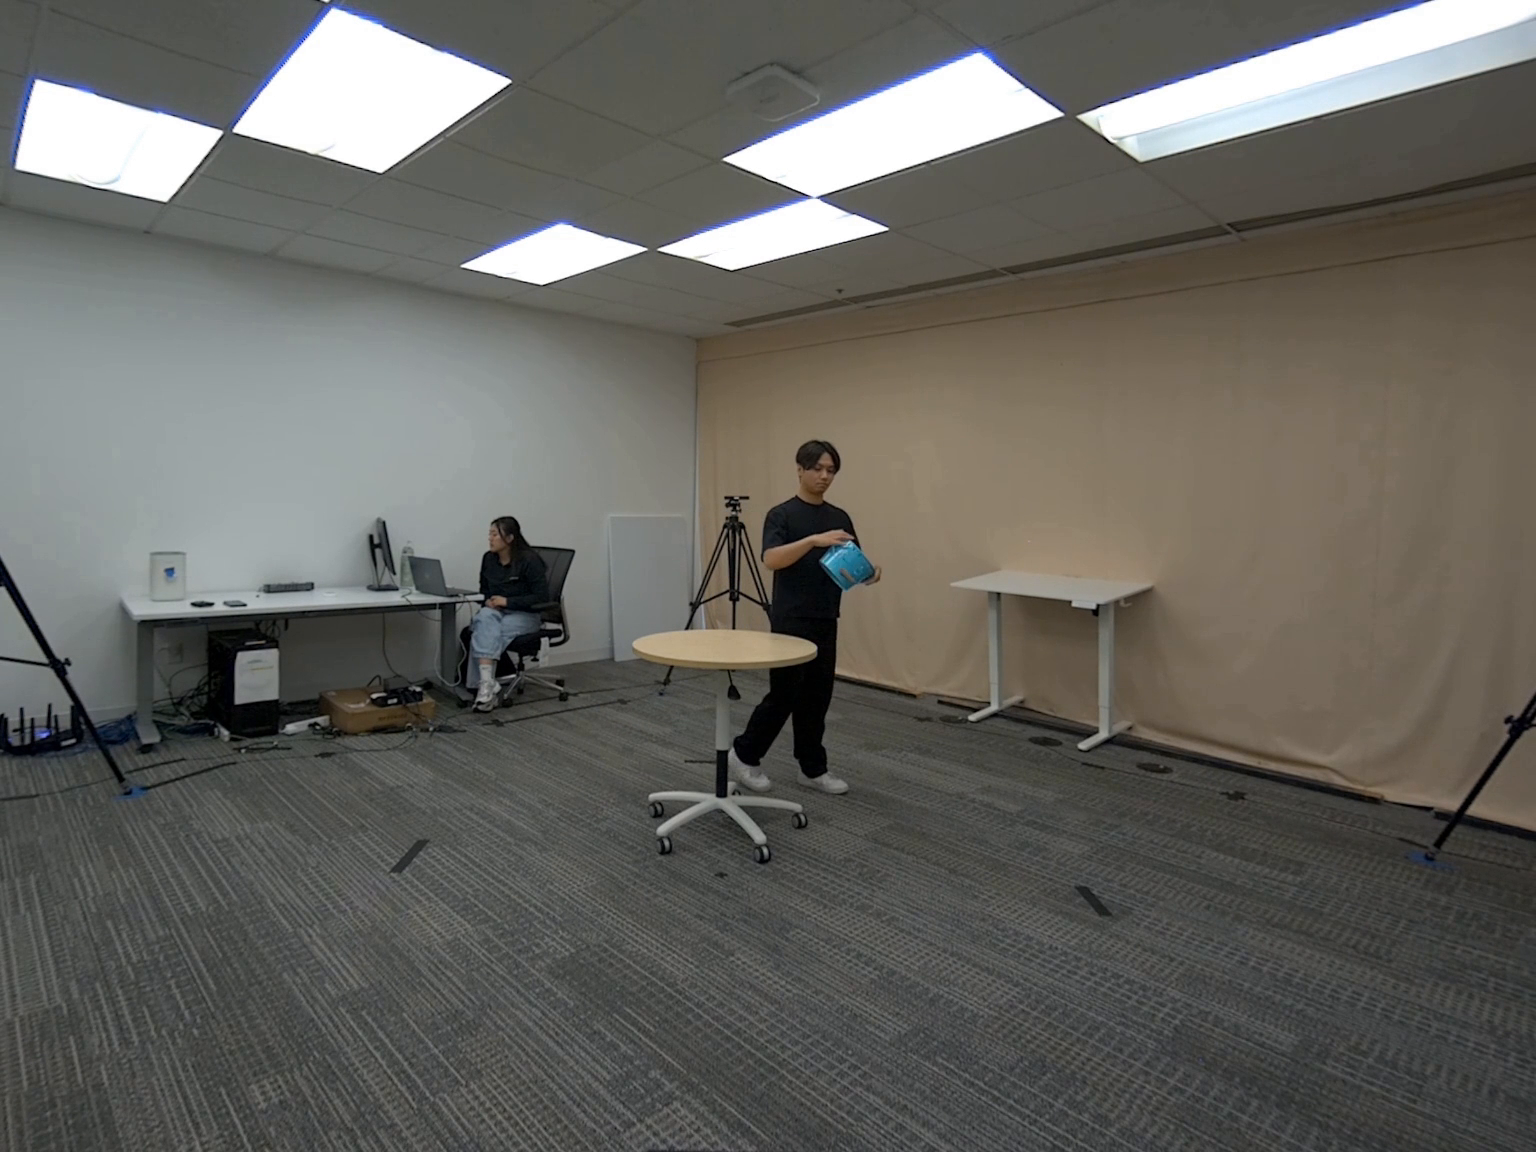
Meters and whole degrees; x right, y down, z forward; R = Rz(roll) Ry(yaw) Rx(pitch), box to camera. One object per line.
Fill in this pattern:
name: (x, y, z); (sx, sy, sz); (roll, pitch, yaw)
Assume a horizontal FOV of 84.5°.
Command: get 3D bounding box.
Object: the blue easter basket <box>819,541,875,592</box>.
blue easter basket: (0.324, -0.053, 3.739); (0.156, 0.242, 0.245); (-42, 8, -2)
